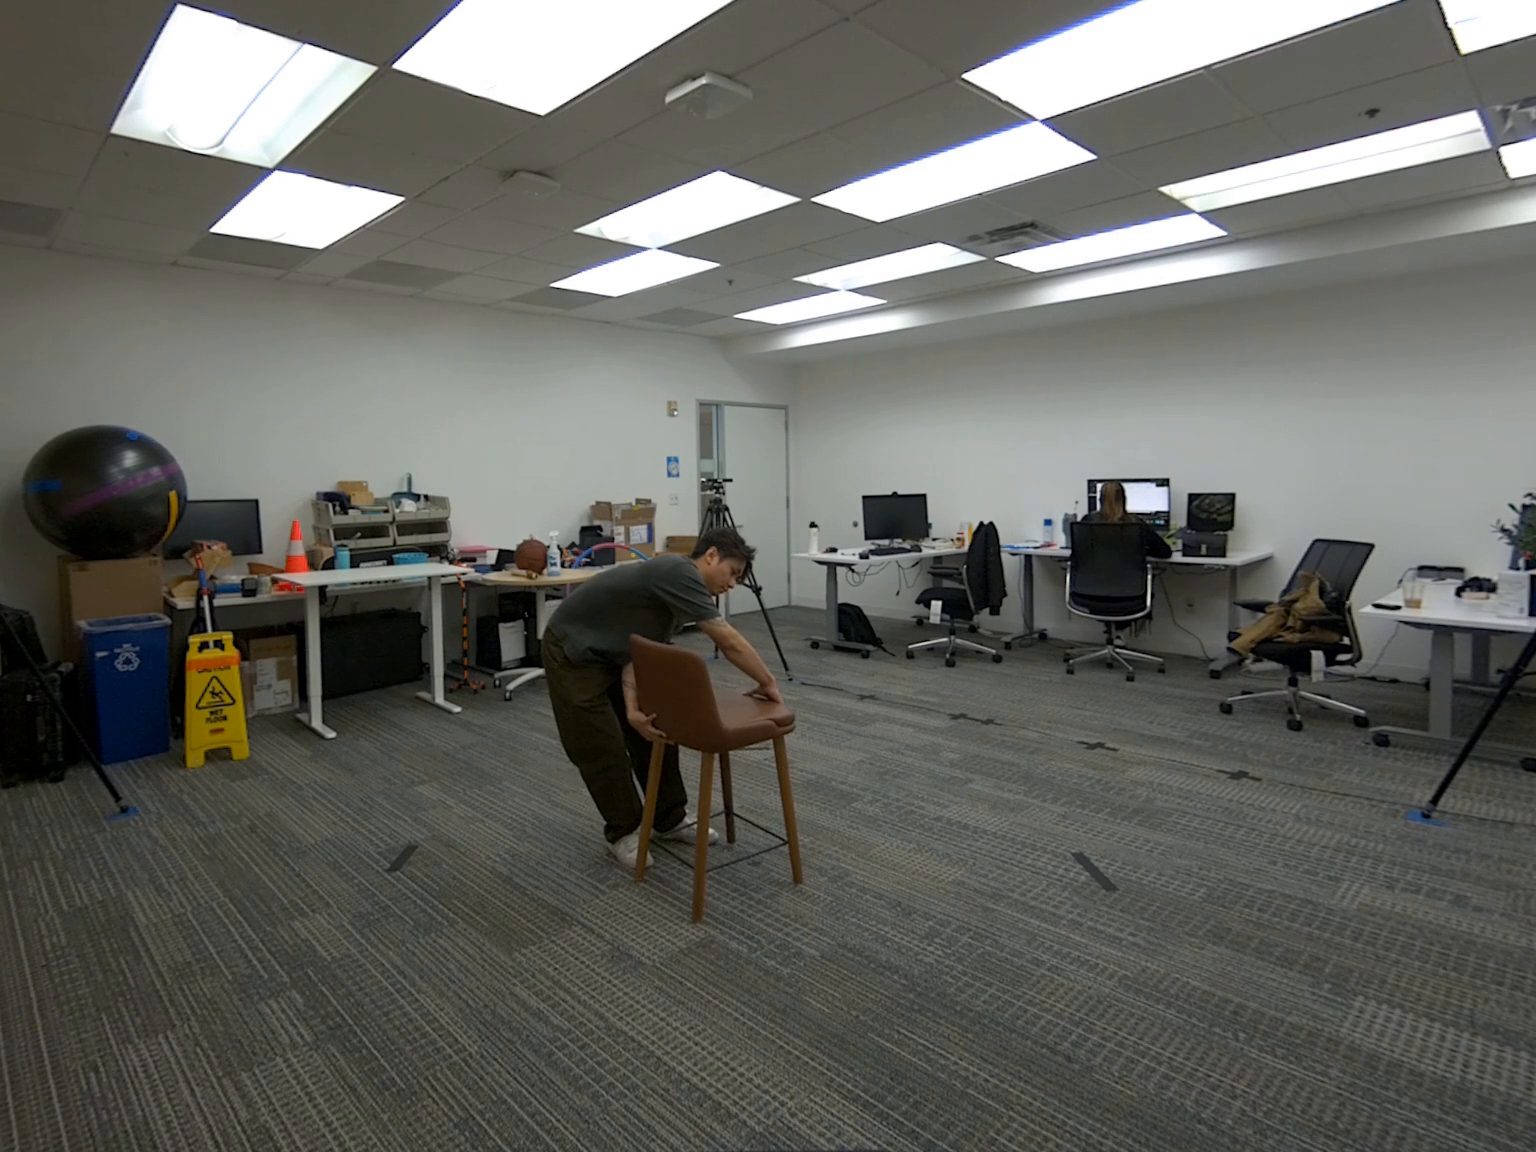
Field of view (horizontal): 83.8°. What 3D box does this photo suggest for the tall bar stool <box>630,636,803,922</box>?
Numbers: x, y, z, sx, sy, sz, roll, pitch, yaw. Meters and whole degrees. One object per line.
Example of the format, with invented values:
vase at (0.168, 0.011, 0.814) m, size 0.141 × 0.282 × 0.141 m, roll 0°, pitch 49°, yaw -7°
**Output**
tall bar stool at (-0.176, 0.624, 2.930) m, size 0.456 × 0.884 × 0.471 m, roll -7°, pitch 8°, yaw -37°
